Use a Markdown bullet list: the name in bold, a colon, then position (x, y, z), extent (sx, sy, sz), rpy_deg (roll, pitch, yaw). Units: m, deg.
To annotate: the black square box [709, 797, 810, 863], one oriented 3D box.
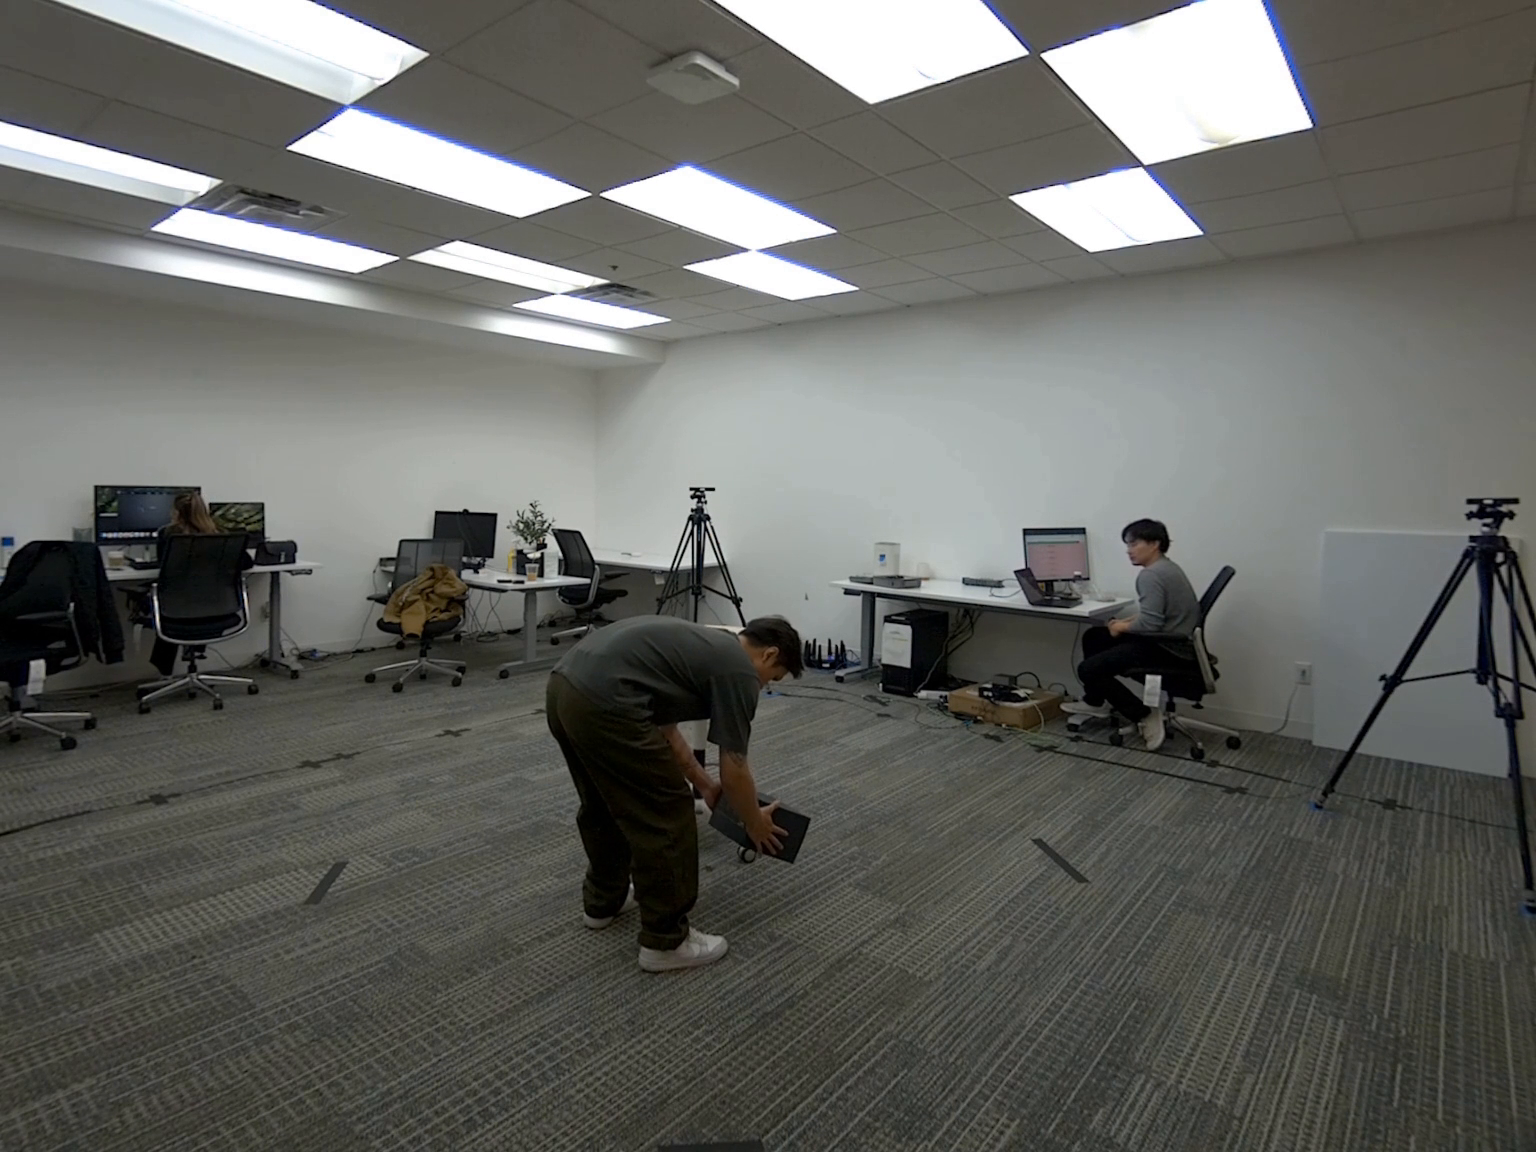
- **black square box**: position (-0.039, 0.813, 2.821), extent (0.220, 0.156, 0.224), rpy_deg (29, -11, -31)
